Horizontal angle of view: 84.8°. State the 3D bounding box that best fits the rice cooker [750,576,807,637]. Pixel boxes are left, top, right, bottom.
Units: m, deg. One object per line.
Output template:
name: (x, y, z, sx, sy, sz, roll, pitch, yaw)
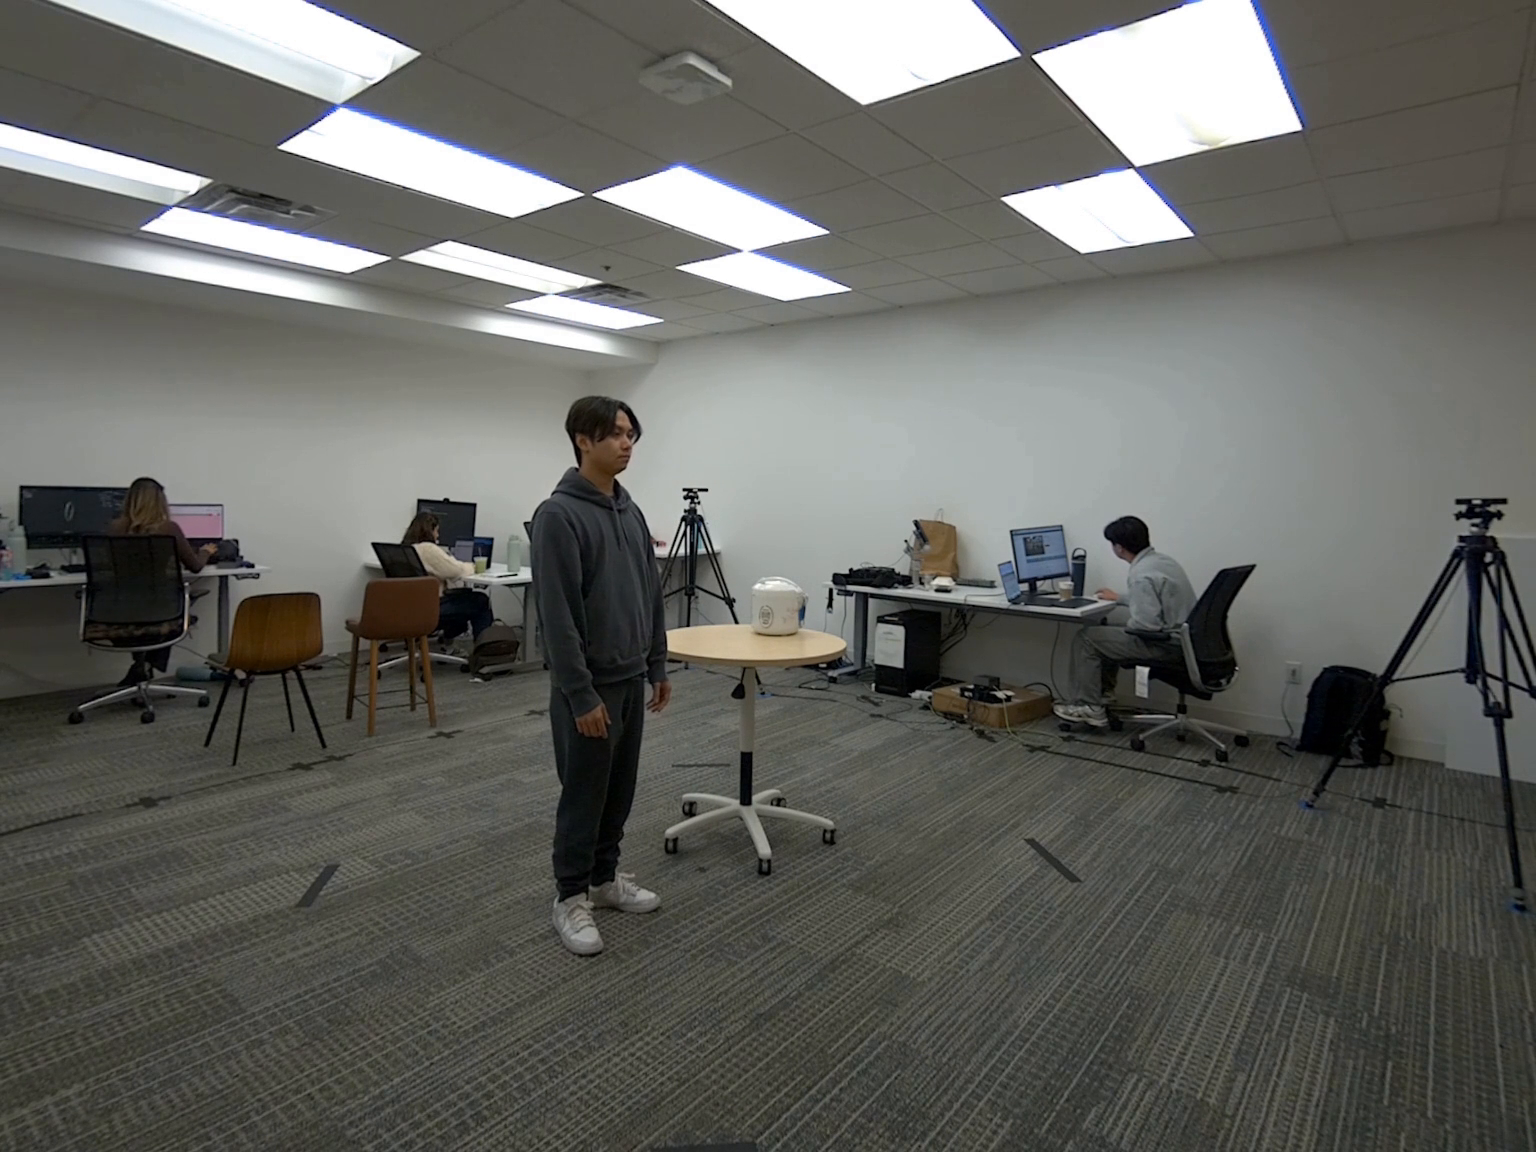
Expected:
rice cooker: (0.027, 0.117, 3.537, 0.226, 0.232, 0.213, 3, 4, 24)
